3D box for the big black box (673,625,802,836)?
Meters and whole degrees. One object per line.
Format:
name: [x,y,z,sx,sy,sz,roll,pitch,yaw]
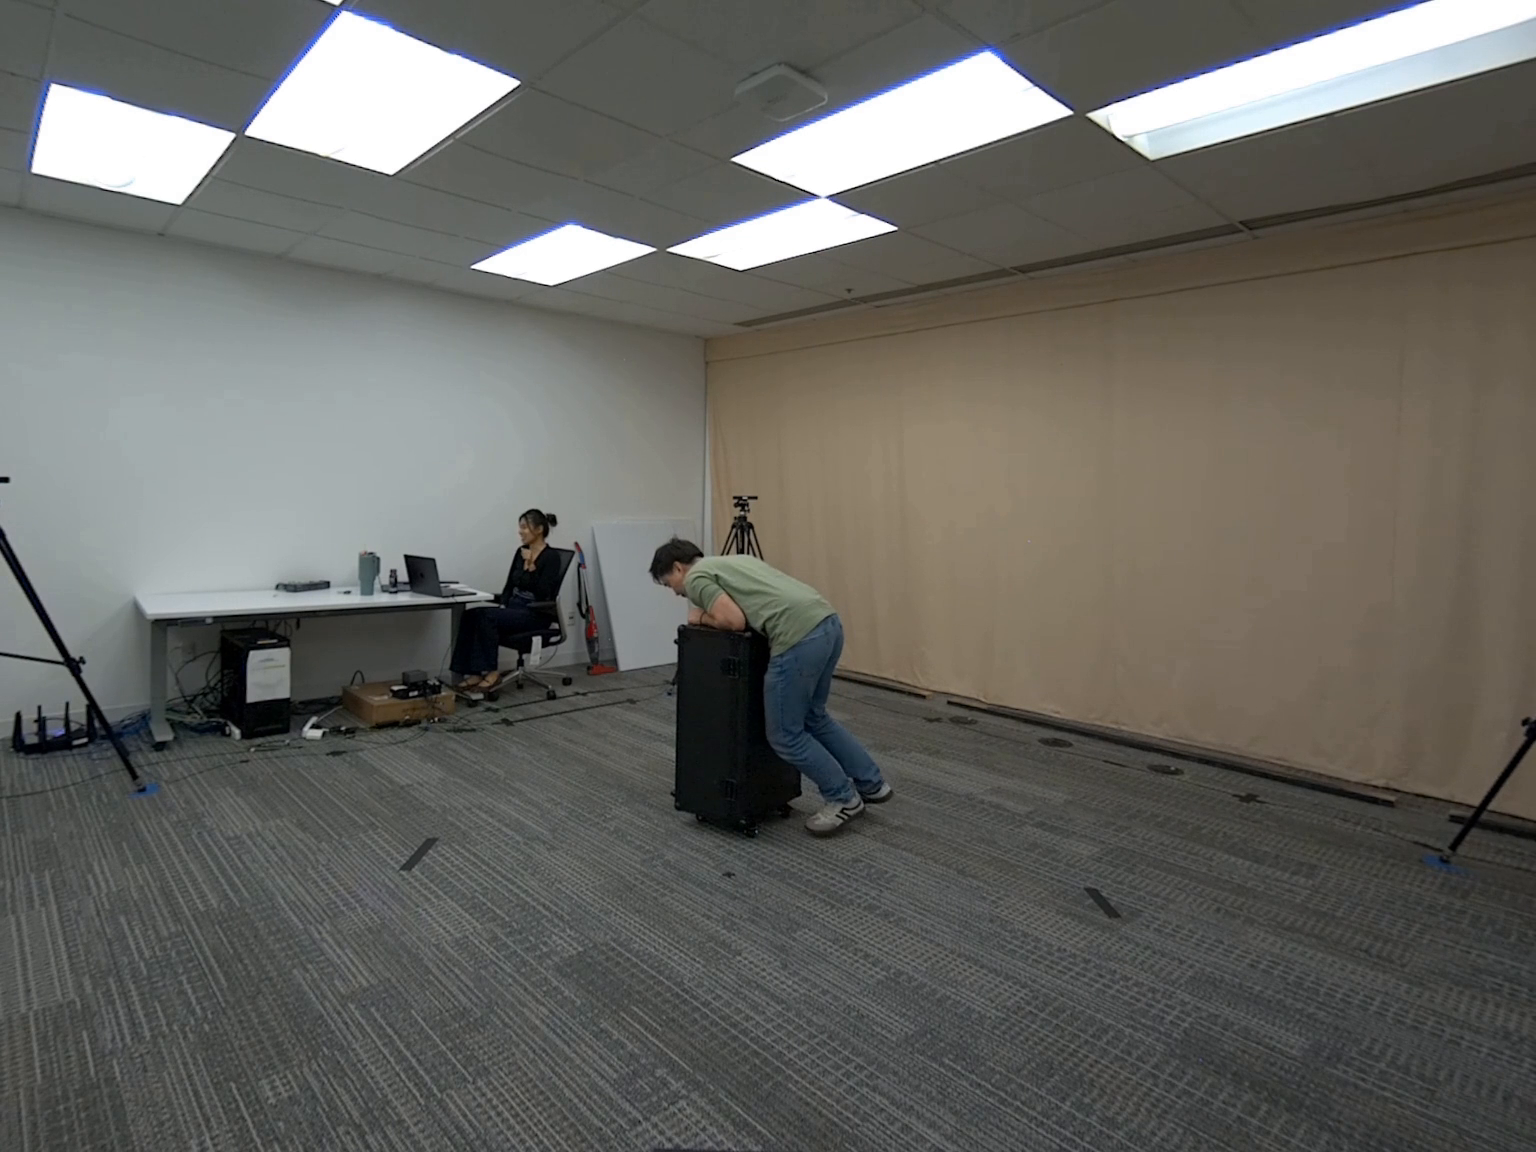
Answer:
big black box: [-0.137,0.638,3.646,0.405,0.860,0.511,2,3,30]
